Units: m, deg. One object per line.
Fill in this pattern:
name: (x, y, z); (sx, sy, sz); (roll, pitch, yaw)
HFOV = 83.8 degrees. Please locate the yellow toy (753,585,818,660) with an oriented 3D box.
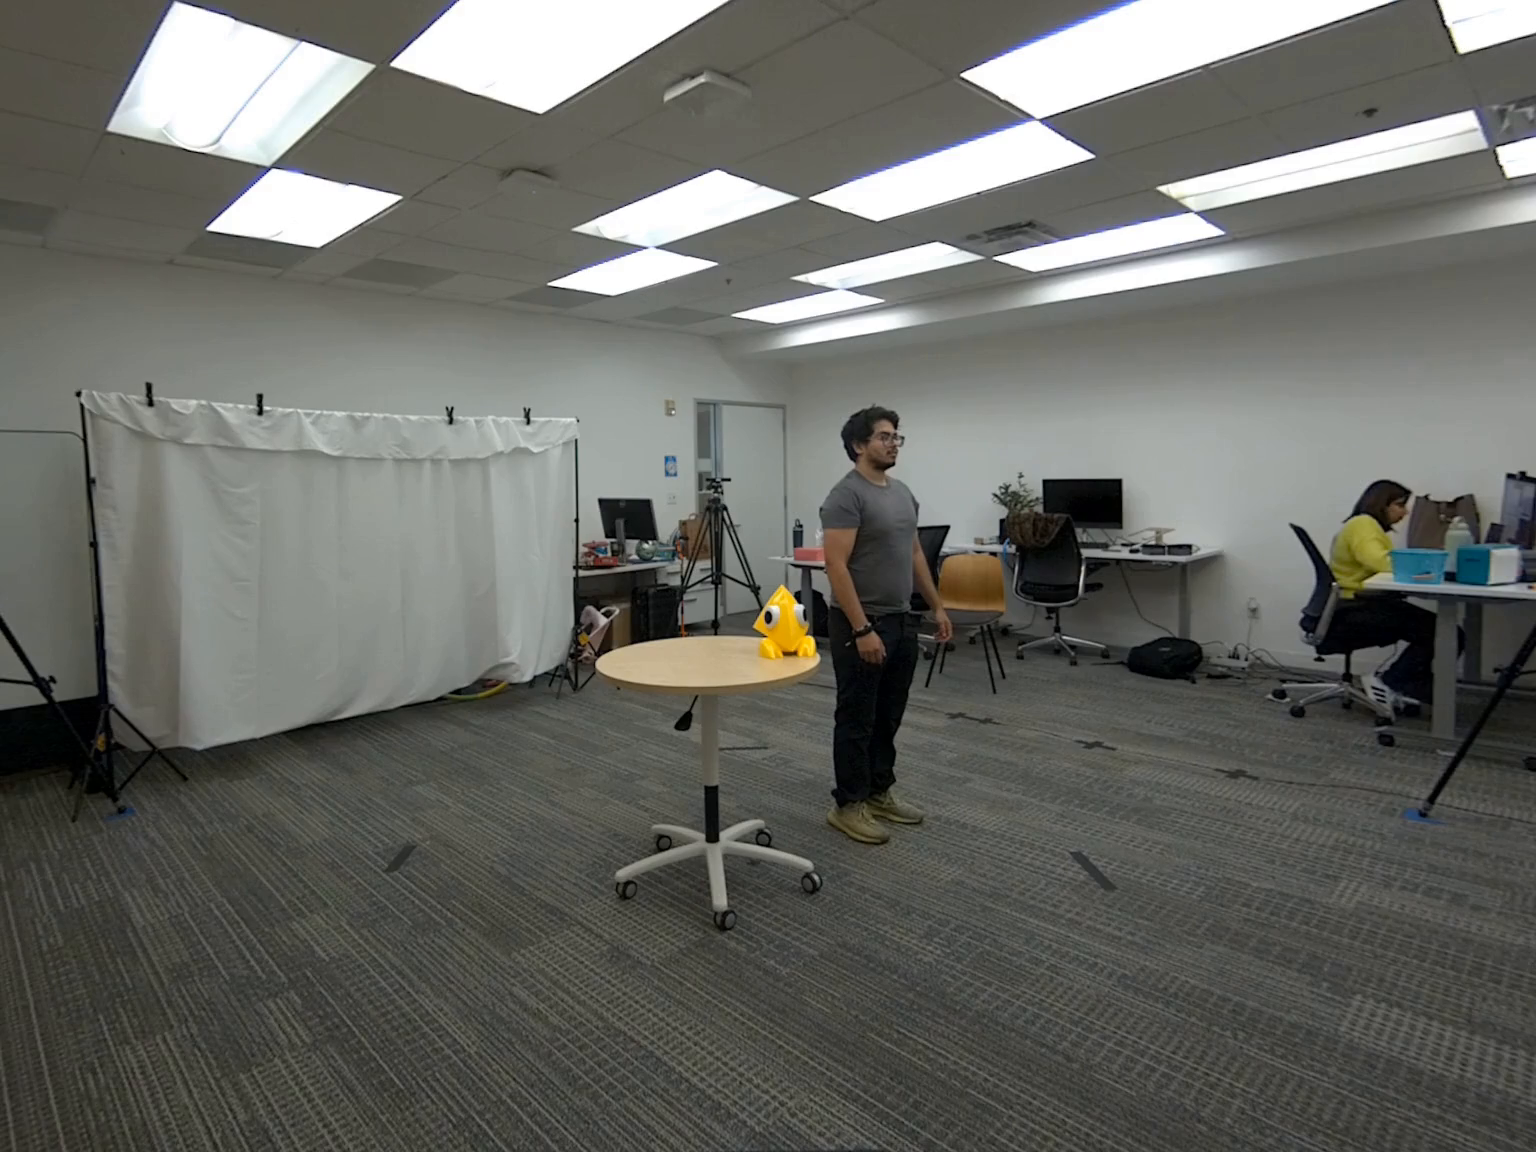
yellow toy: (0.066, 0.154, 2.975); (0.203, 0.230, 0.195); (-2, 5, -8)
